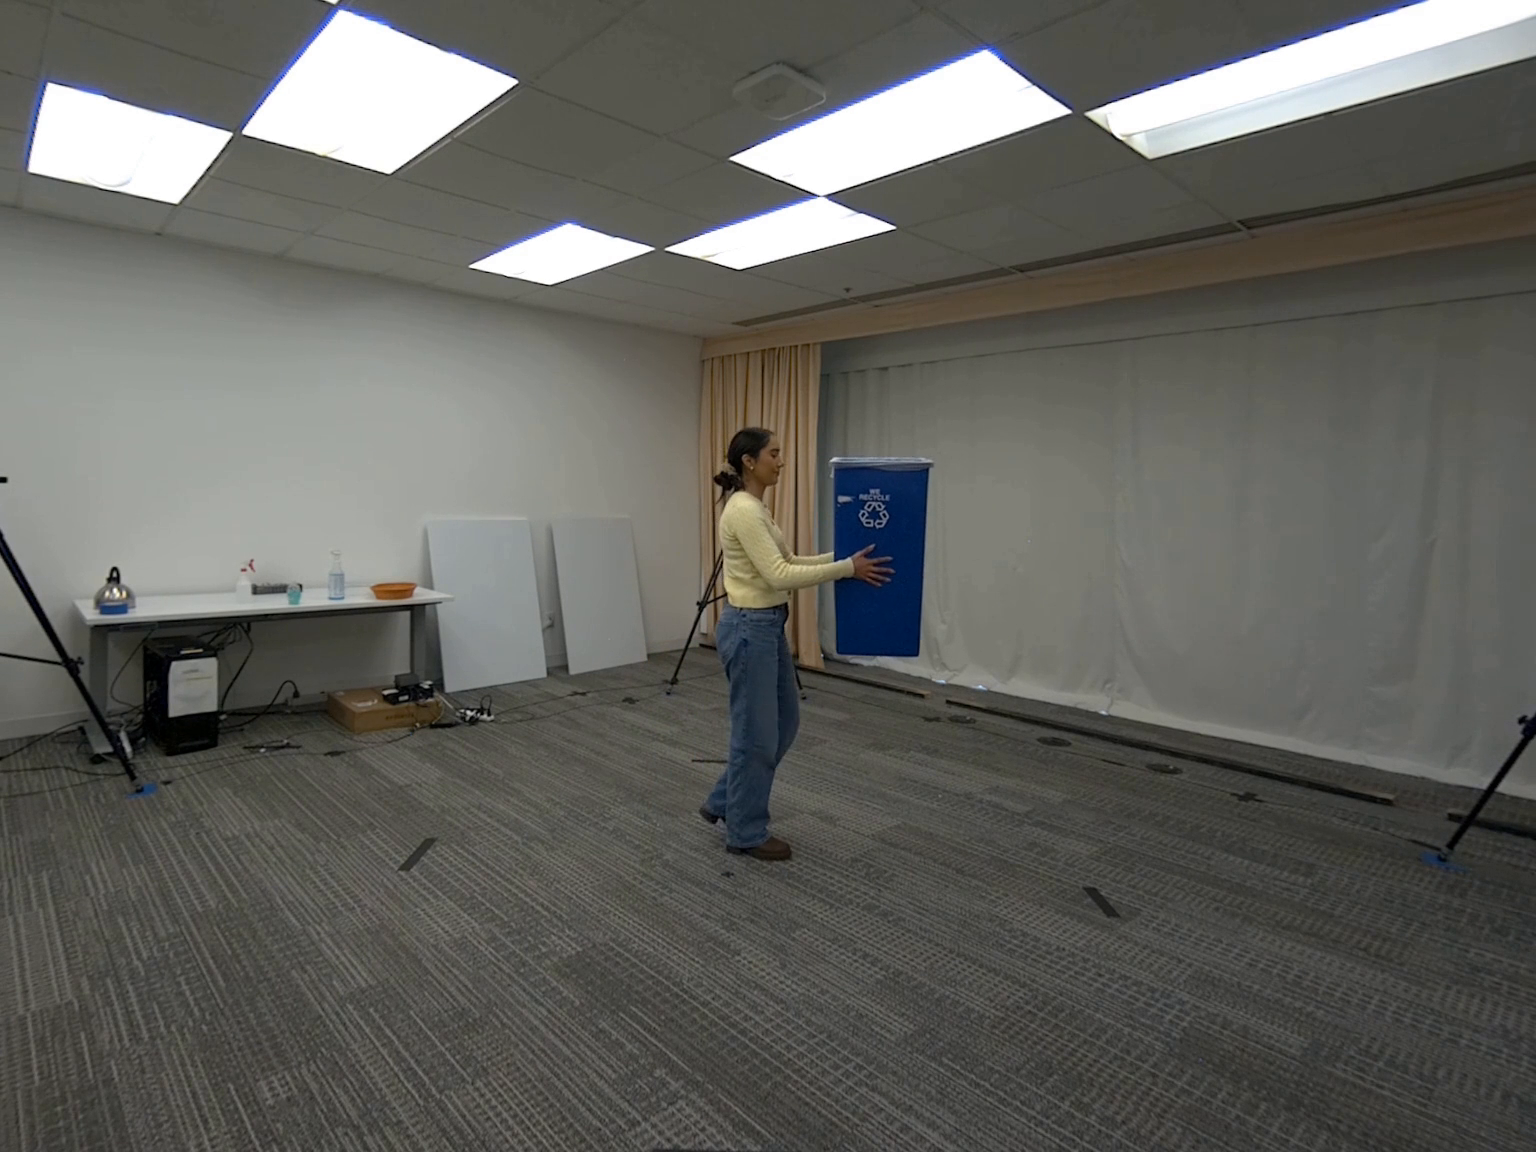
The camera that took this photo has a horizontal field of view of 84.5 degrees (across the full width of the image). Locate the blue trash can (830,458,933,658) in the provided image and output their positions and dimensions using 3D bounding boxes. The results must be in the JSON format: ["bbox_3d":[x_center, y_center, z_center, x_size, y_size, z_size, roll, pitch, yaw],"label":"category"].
[{"bbox_3d":[0.413,-0.086,3.177,0.376,0.709,0.378,0,8,7],"label":"blue trash can"}]
